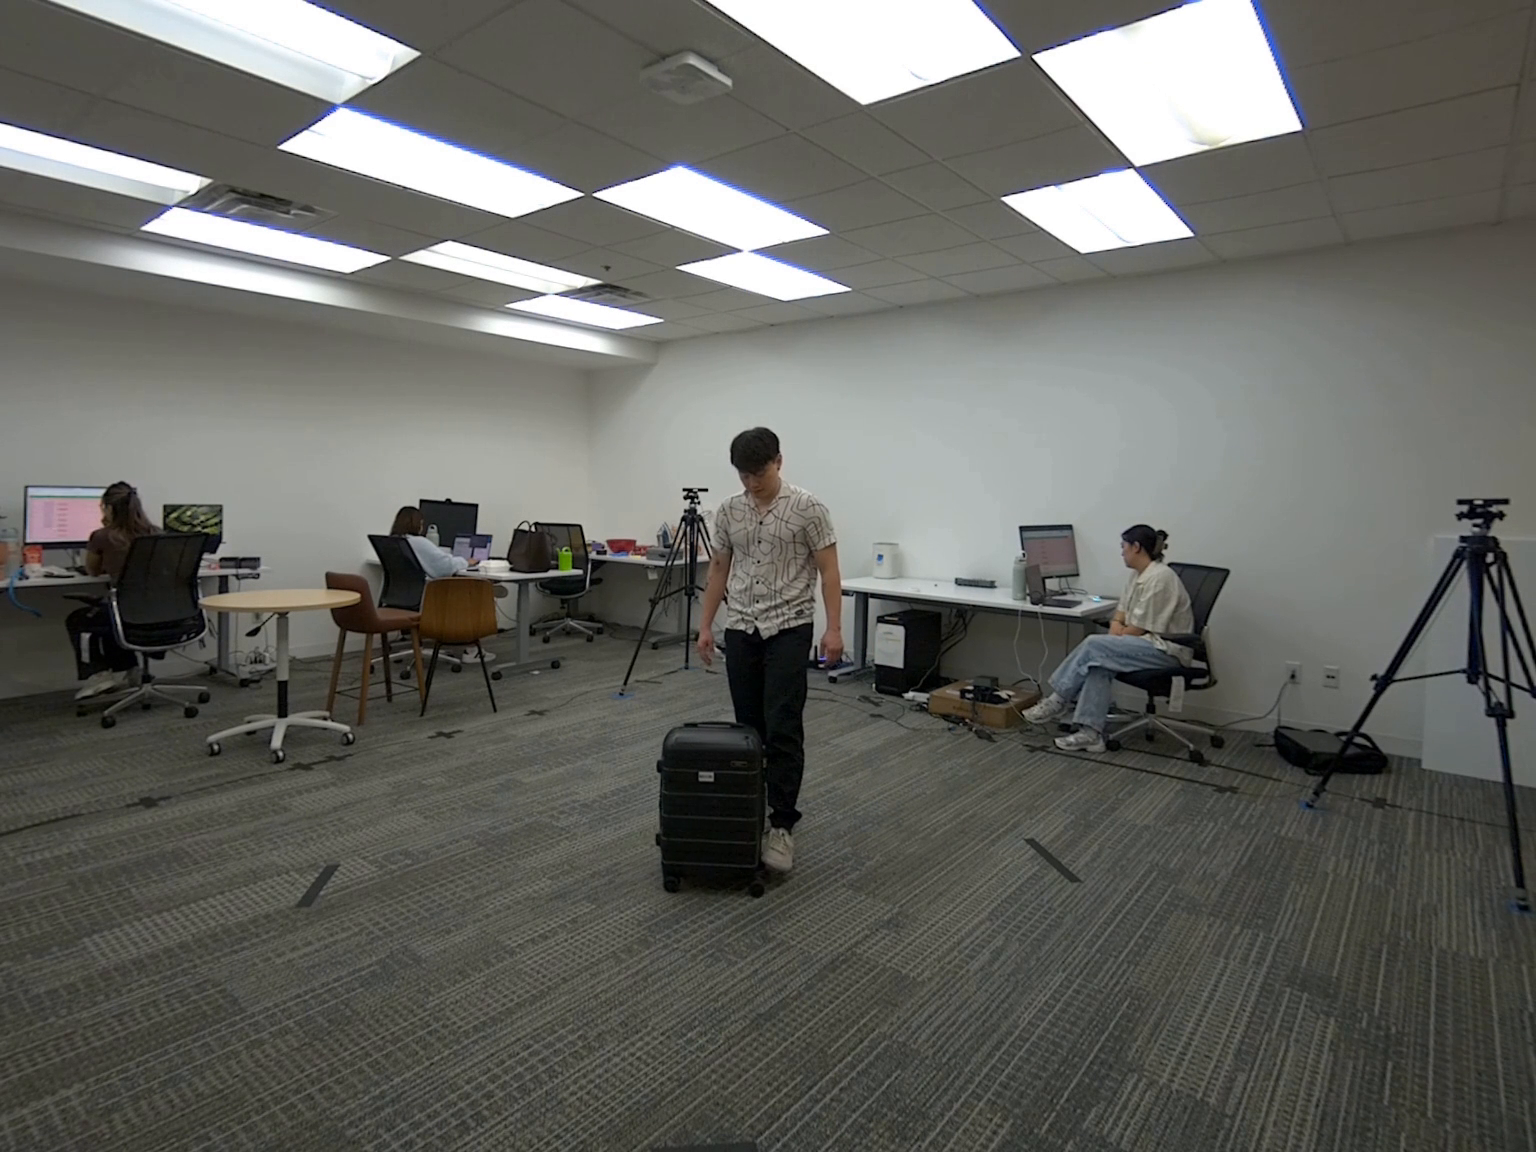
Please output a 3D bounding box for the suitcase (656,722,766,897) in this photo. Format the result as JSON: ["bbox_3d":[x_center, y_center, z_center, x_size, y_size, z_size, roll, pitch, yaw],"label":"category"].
[{"bbox_3d":[-0.204,0.801,3.018,0.377,0.548,0.248,1,3,4],"label":"suitcase"}]
